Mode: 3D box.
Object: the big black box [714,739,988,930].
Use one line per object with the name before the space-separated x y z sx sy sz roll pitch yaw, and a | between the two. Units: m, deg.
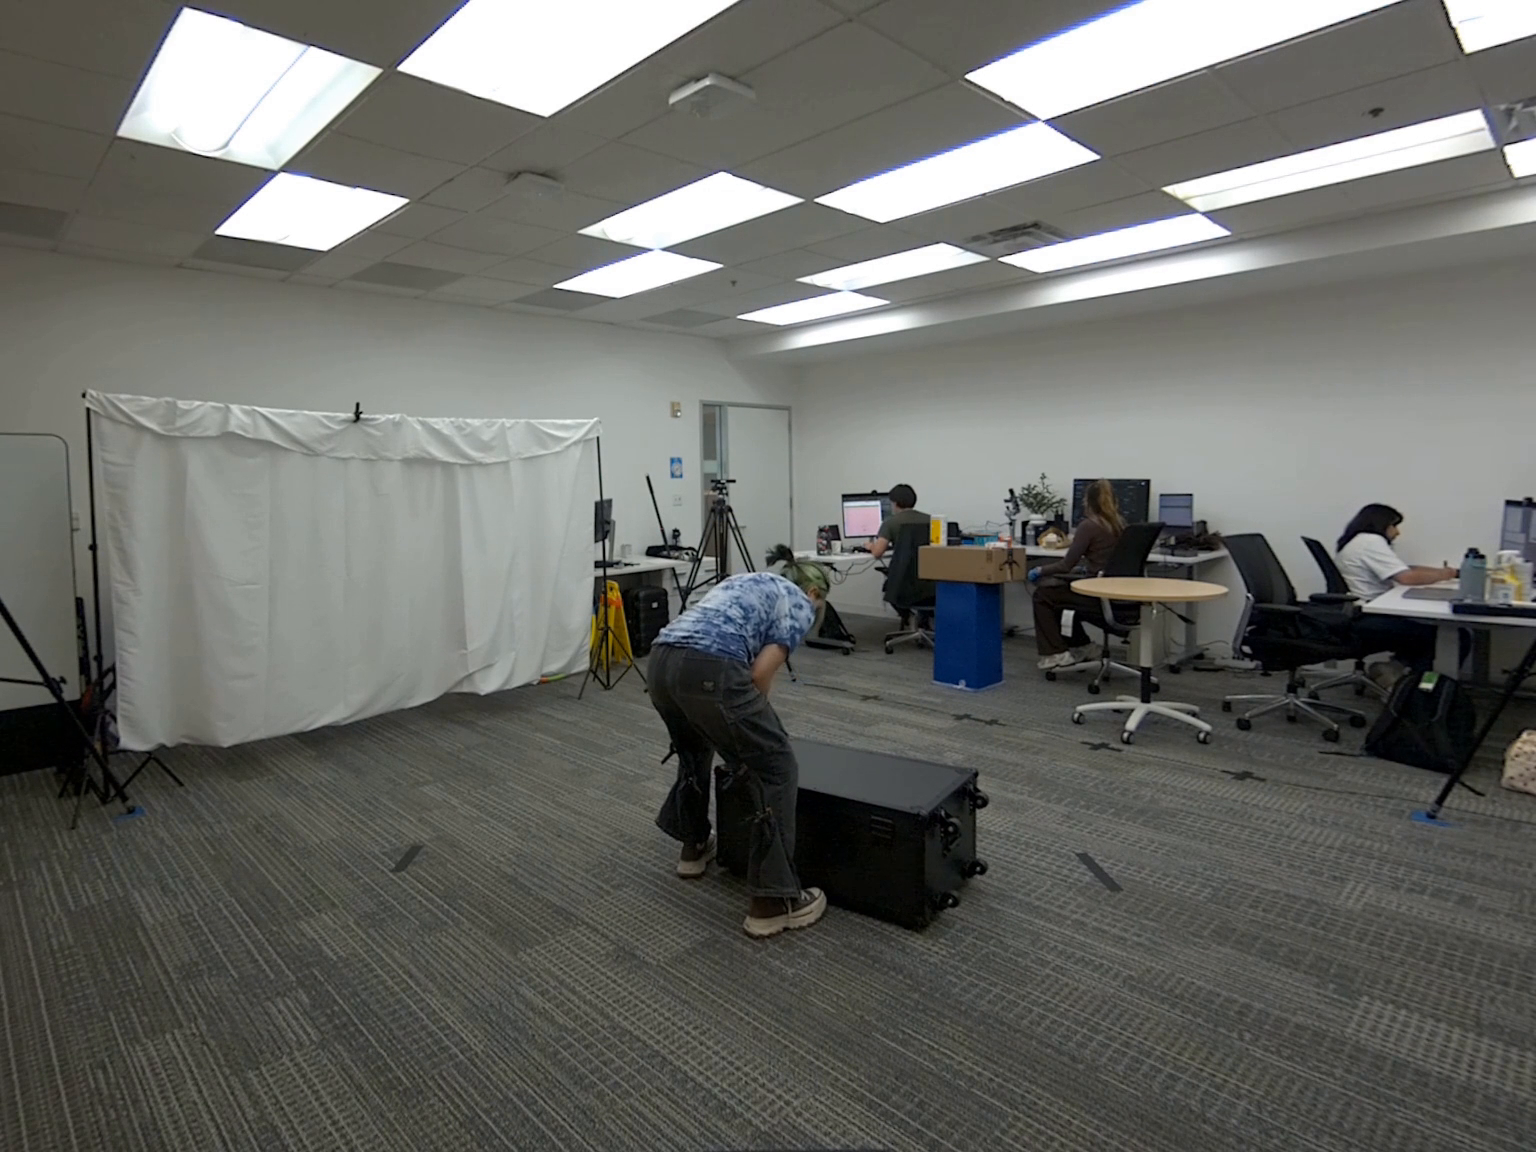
big black box | 0.300 0.862 2.984 0.886 0.395 0.508 3 6 34
